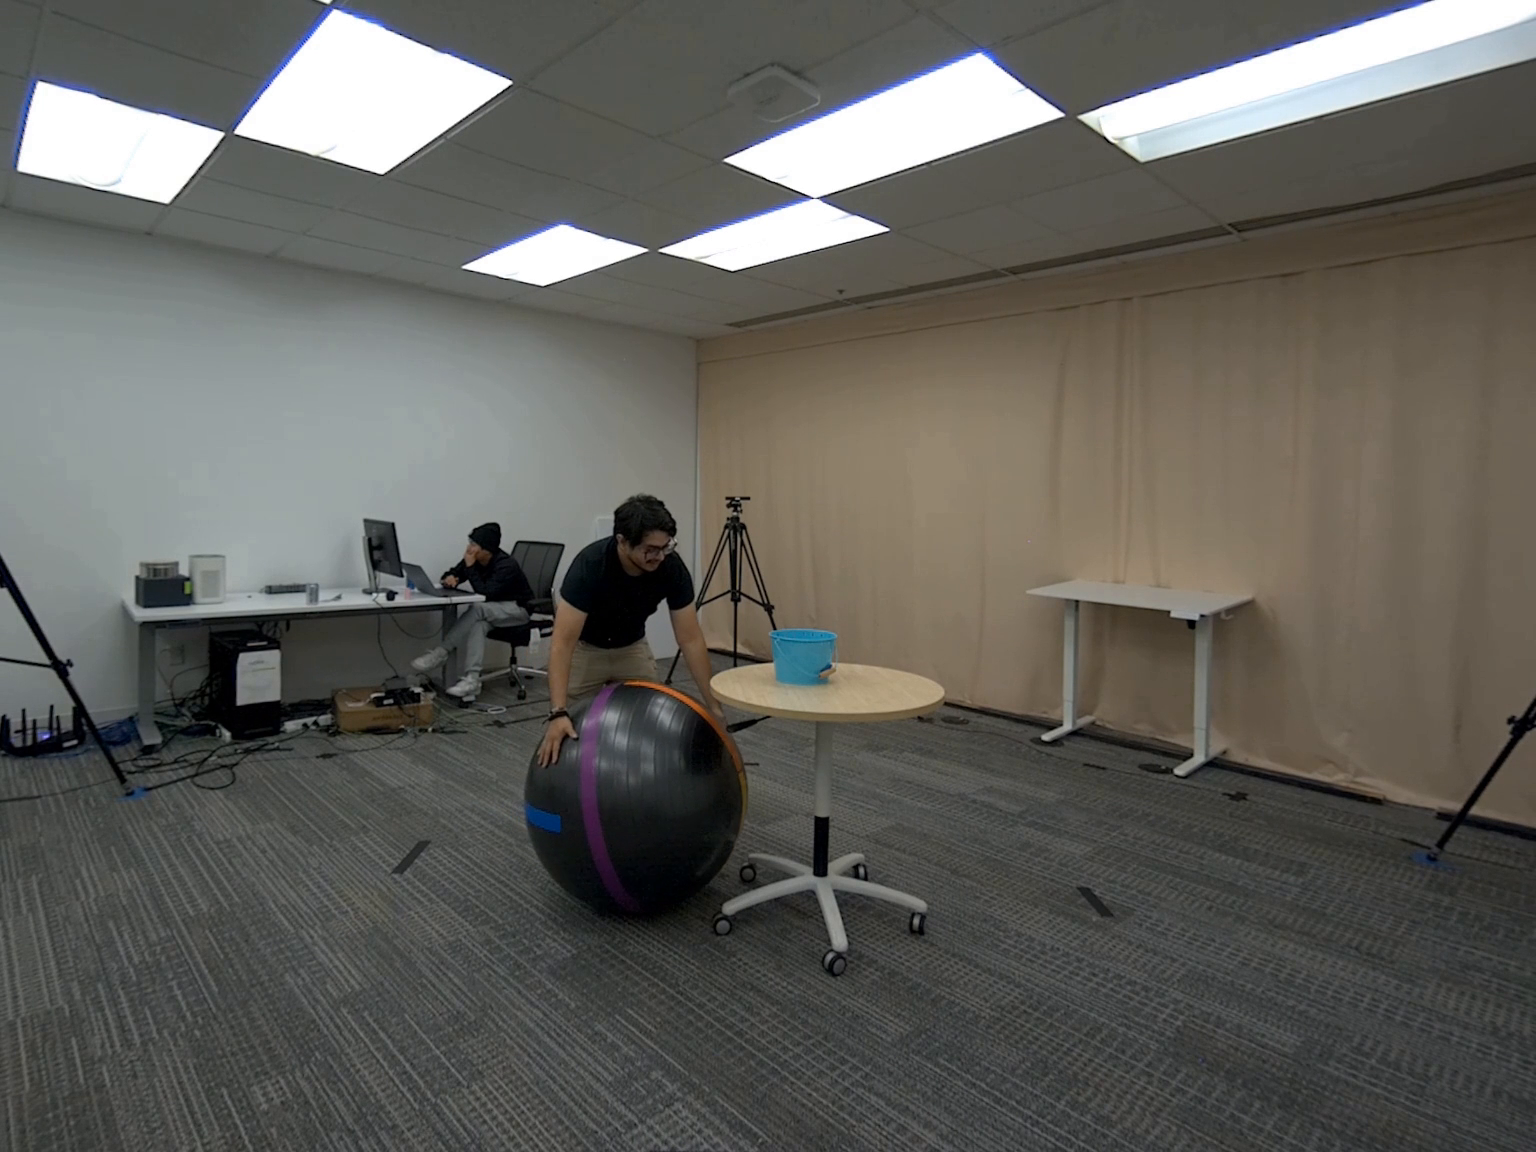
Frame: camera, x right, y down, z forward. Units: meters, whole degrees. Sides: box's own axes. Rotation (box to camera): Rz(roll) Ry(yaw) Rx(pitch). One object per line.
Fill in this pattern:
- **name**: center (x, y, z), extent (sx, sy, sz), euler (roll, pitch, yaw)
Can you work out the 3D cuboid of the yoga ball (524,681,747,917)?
- **yoga ball**: center (-0.459, 0.756, 2.885), extent (0.757, 0.756, 0.761), euler (1, 4, -1)
